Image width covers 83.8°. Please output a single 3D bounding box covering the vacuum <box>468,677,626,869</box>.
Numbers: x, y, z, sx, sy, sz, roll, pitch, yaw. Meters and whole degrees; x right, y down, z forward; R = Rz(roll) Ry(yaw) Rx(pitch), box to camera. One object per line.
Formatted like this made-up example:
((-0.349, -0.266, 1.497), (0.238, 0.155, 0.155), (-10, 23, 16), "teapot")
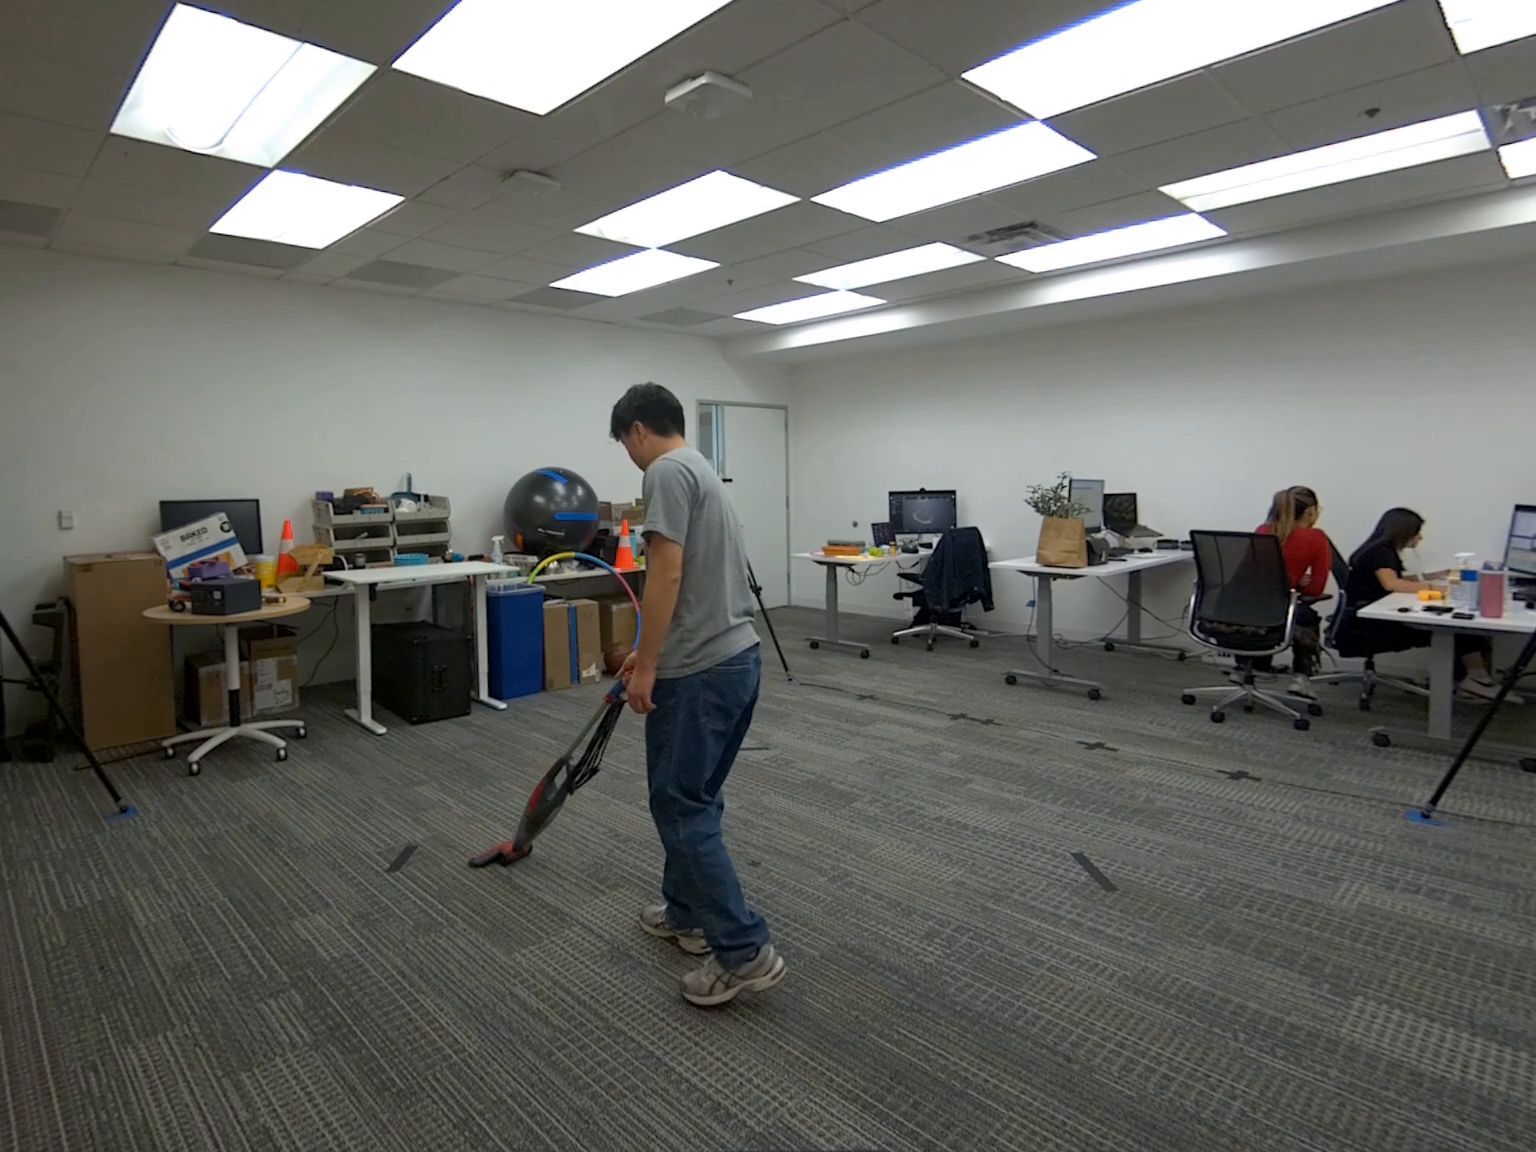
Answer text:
((-0.675, 0.674, 2.976), (0.148, 1.046, 0.247), (47, 27, 19), "vacuum")
